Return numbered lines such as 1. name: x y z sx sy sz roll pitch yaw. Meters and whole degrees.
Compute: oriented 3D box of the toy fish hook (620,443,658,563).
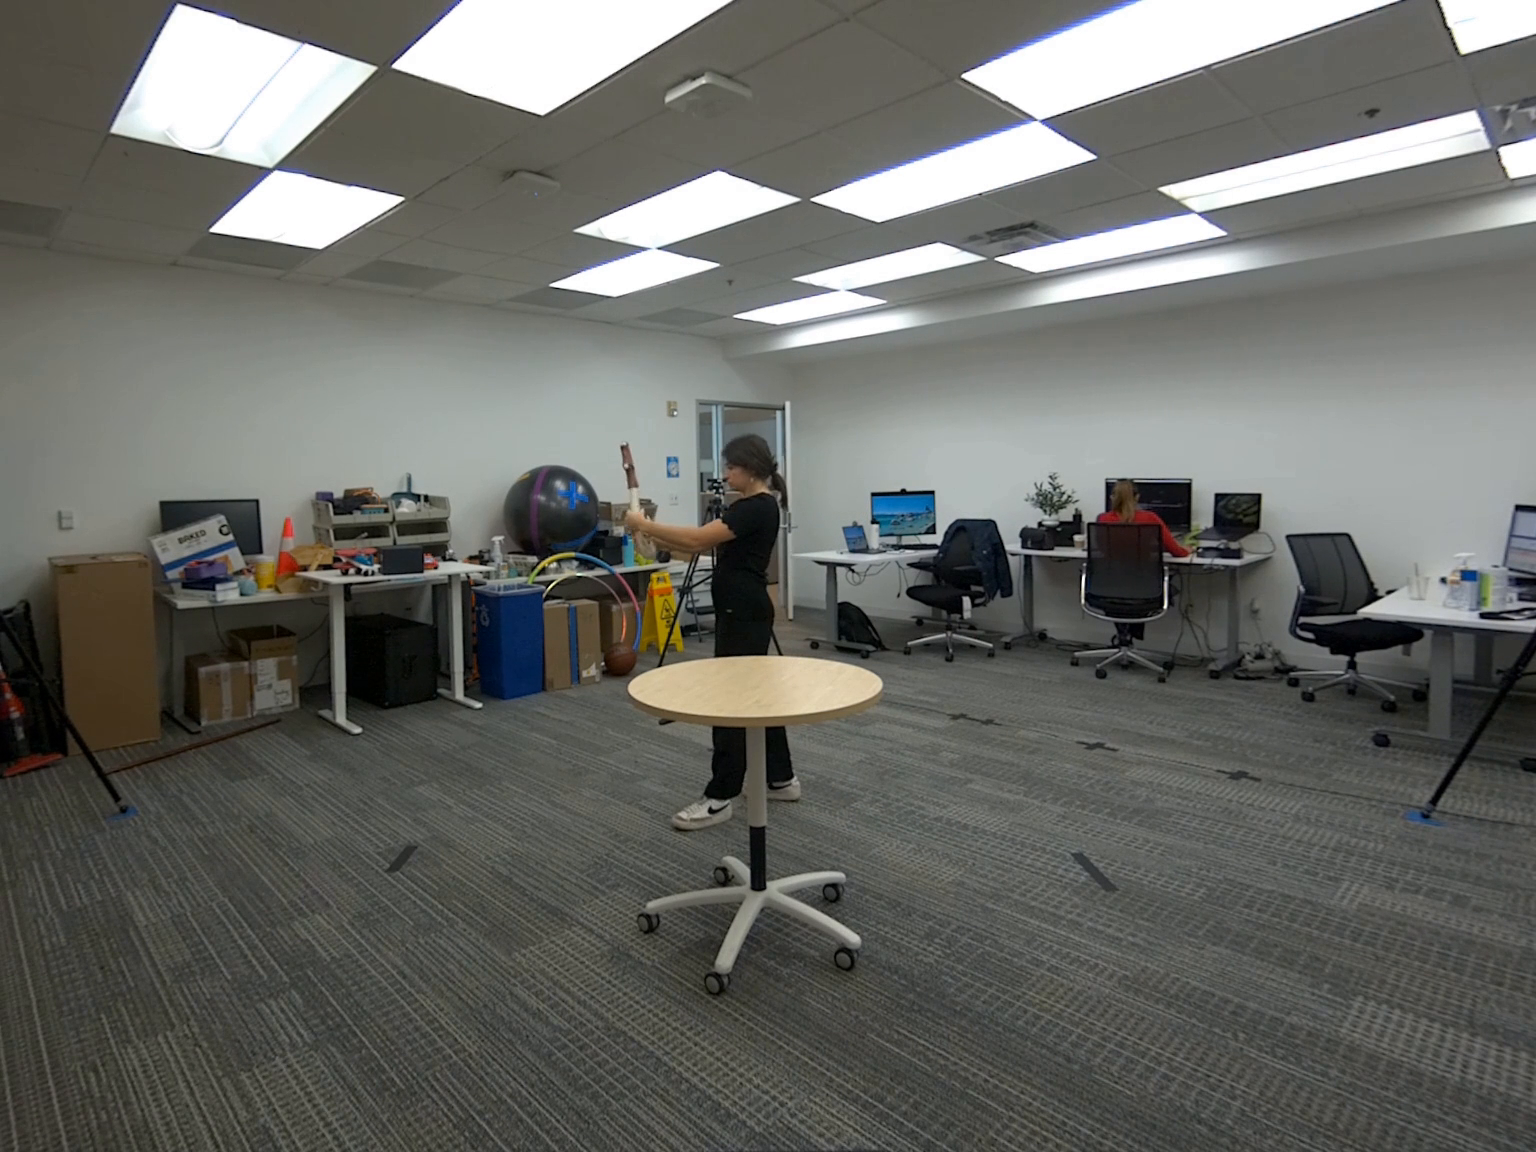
1. toy fish hook: -0.552 -0.310 3.628 0.048 0.510 0.221 -11 -7 7
